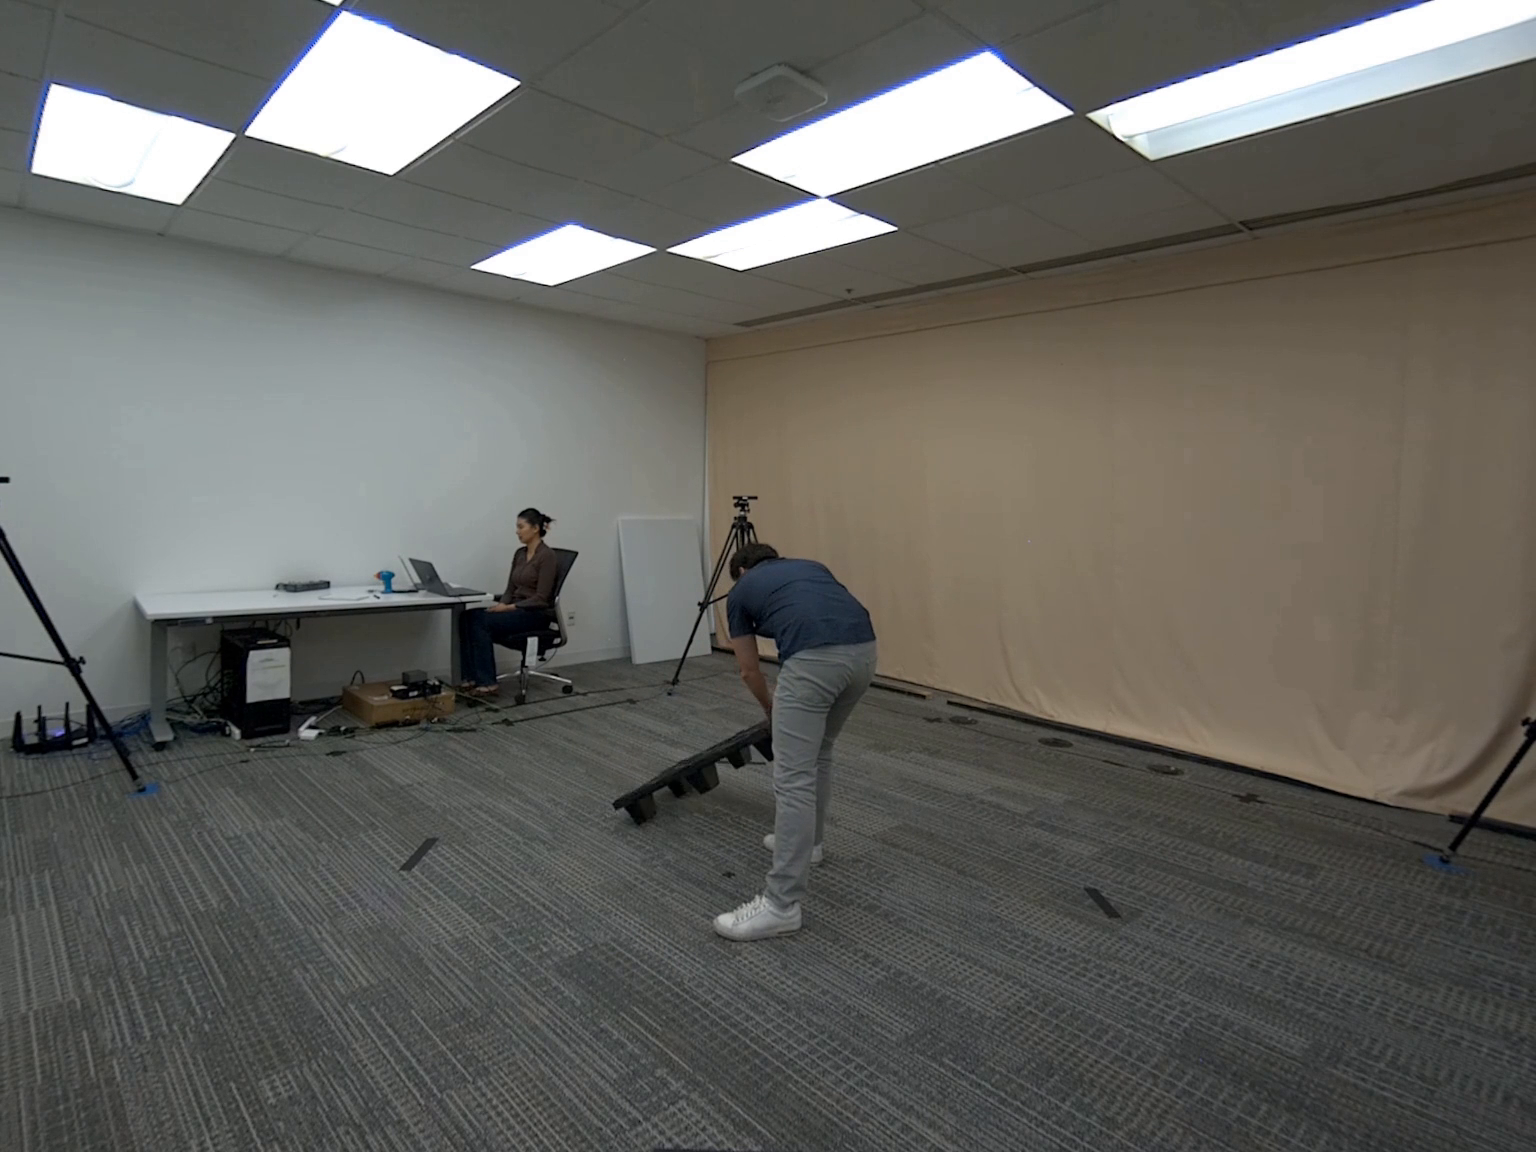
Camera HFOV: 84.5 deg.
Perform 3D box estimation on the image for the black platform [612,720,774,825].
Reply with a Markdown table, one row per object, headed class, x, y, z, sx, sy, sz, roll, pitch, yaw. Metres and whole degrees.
| class | x | y | z | sx | sy | sz | roll | pitch | yaw |
| --- | --- | --- | --- | --- | --- | --- | --- | --- | --- |
| black platform | -0.204 | 0.807 | 3.639 | 0.810 | 0.144 | 0.596 | -30 | -7 | 20 |
